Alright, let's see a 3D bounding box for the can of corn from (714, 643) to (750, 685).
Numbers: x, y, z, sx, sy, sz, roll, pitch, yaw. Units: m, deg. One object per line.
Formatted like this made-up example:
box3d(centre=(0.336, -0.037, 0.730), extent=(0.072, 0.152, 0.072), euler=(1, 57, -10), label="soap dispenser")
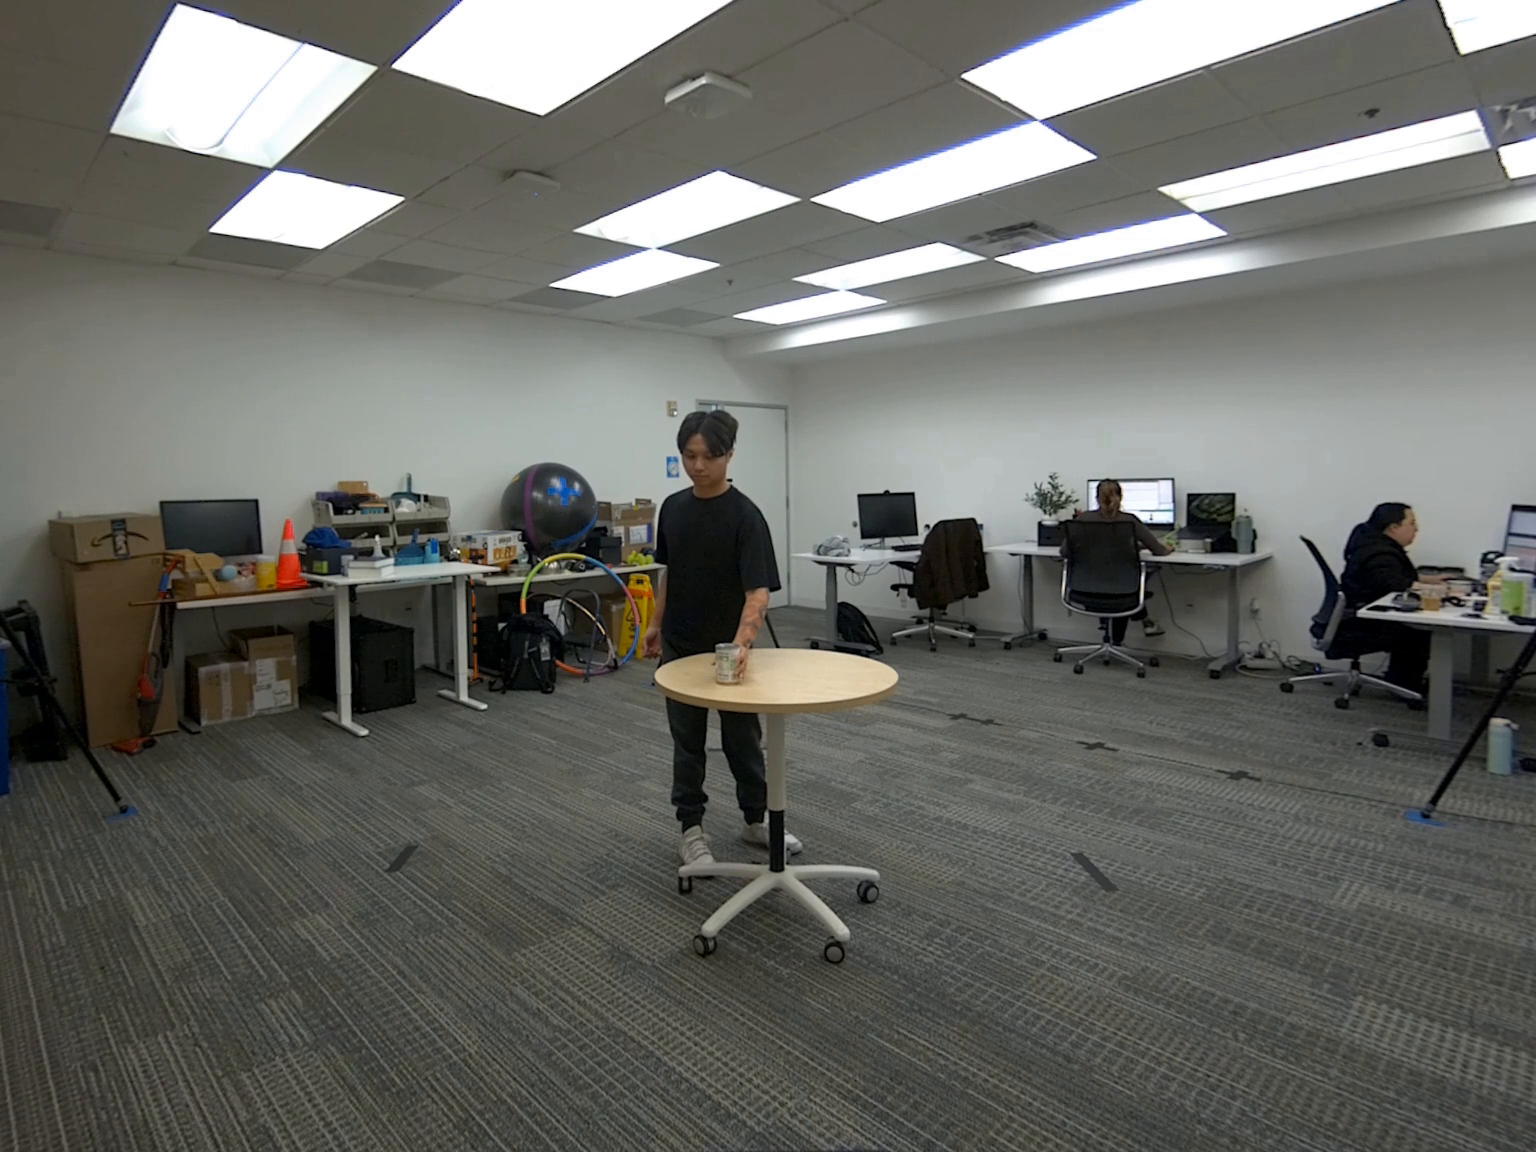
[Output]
box3d(centre=(-0.116, 0.270, 2.573), extent=(0.074, 0.110, 0.074), euler=(2, 6, -2), label="can of corn")
